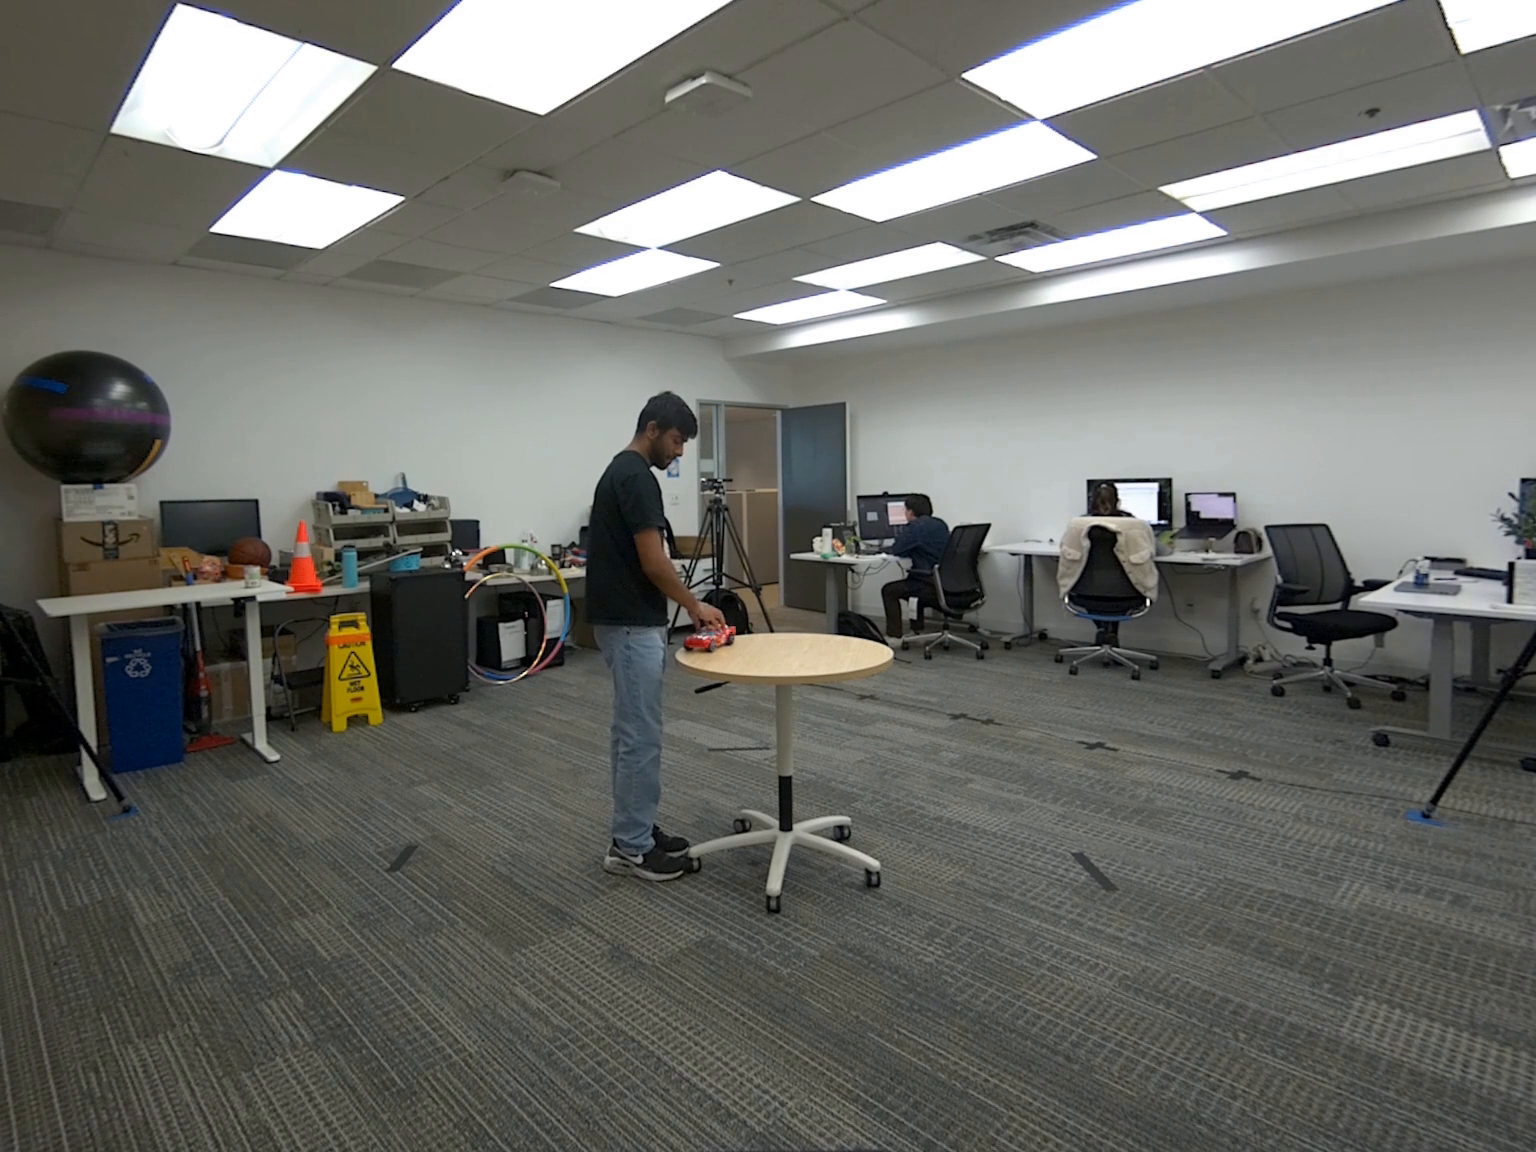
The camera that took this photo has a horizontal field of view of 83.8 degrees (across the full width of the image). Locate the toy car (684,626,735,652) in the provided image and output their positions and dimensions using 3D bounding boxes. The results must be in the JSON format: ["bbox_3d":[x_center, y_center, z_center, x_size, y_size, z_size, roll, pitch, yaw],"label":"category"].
[{"bbox_3d":[-0.208,0.229,3.148,0.133,0.082,0.252,1,17,26],"label":"toy car"}]
